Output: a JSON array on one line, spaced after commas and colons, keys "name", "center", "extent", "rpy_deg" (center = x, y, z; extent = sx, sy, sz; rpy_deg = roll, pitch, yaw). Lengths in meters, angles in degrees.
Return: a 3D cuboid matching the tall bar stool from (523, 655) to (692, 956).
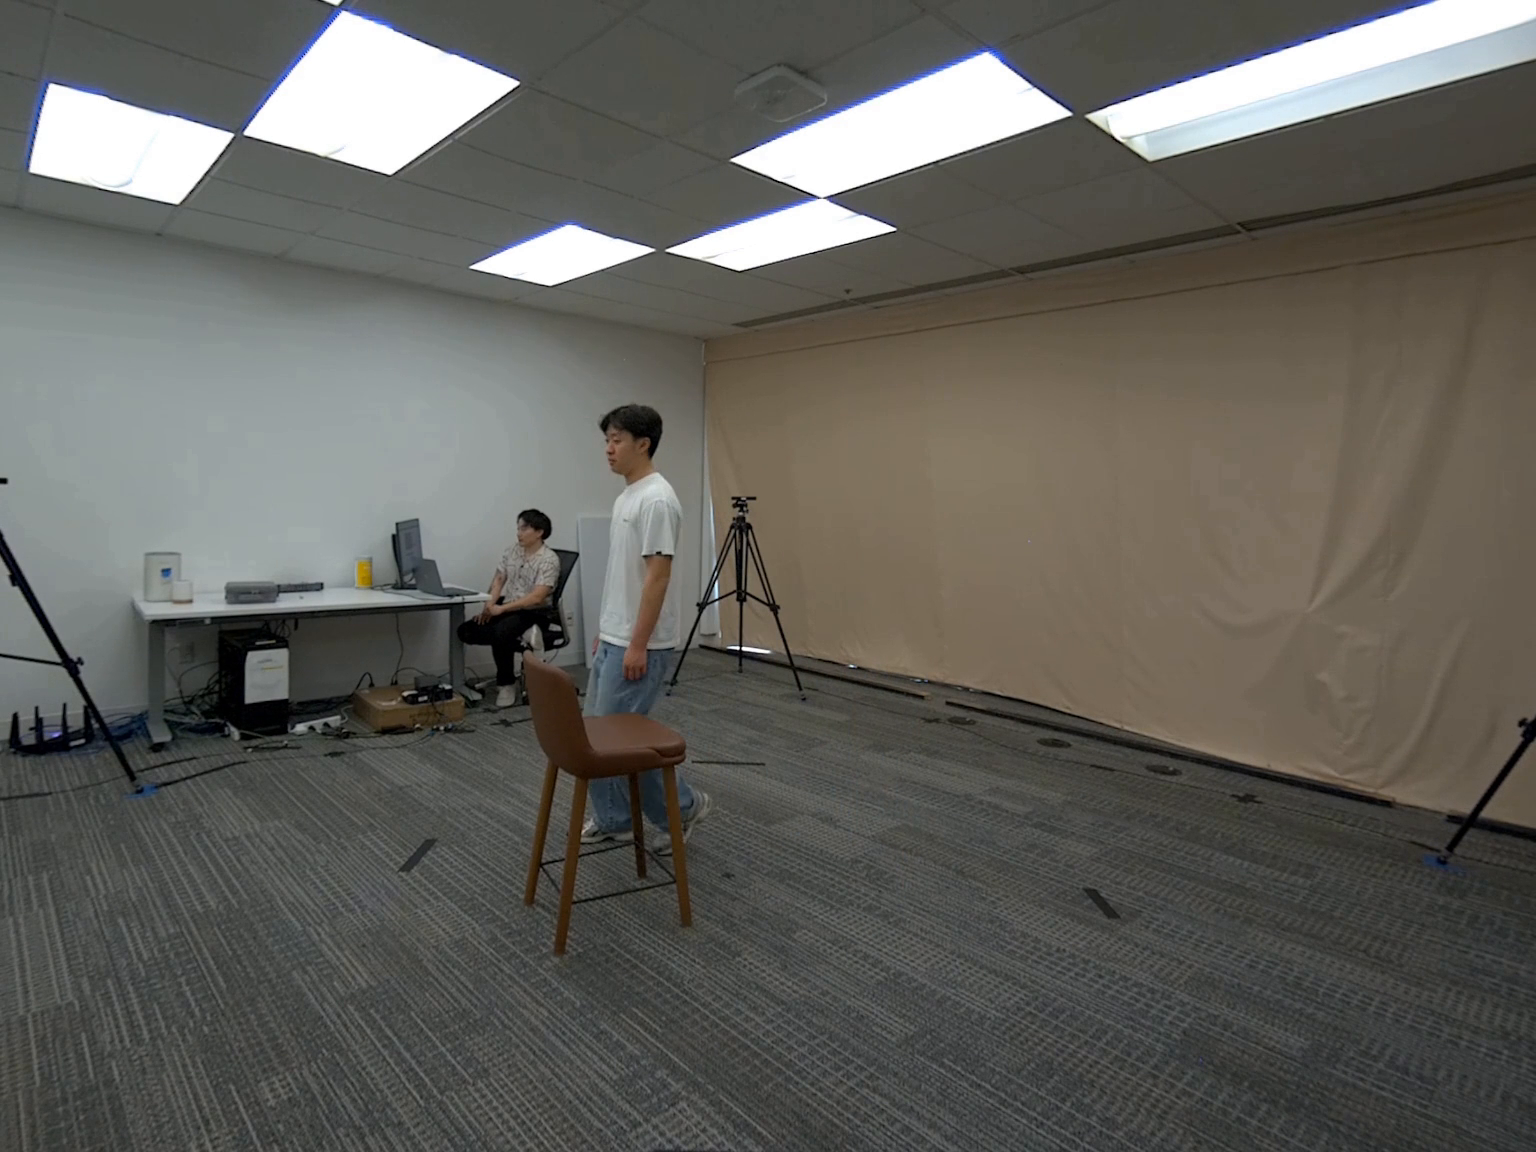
[{"name": "tall bar stool", "center": [-0.540, 0.691, 2.773], "extent": [0.458, 0.887, 0.467], "rpy_deg": [-2, 5, -30]}]
